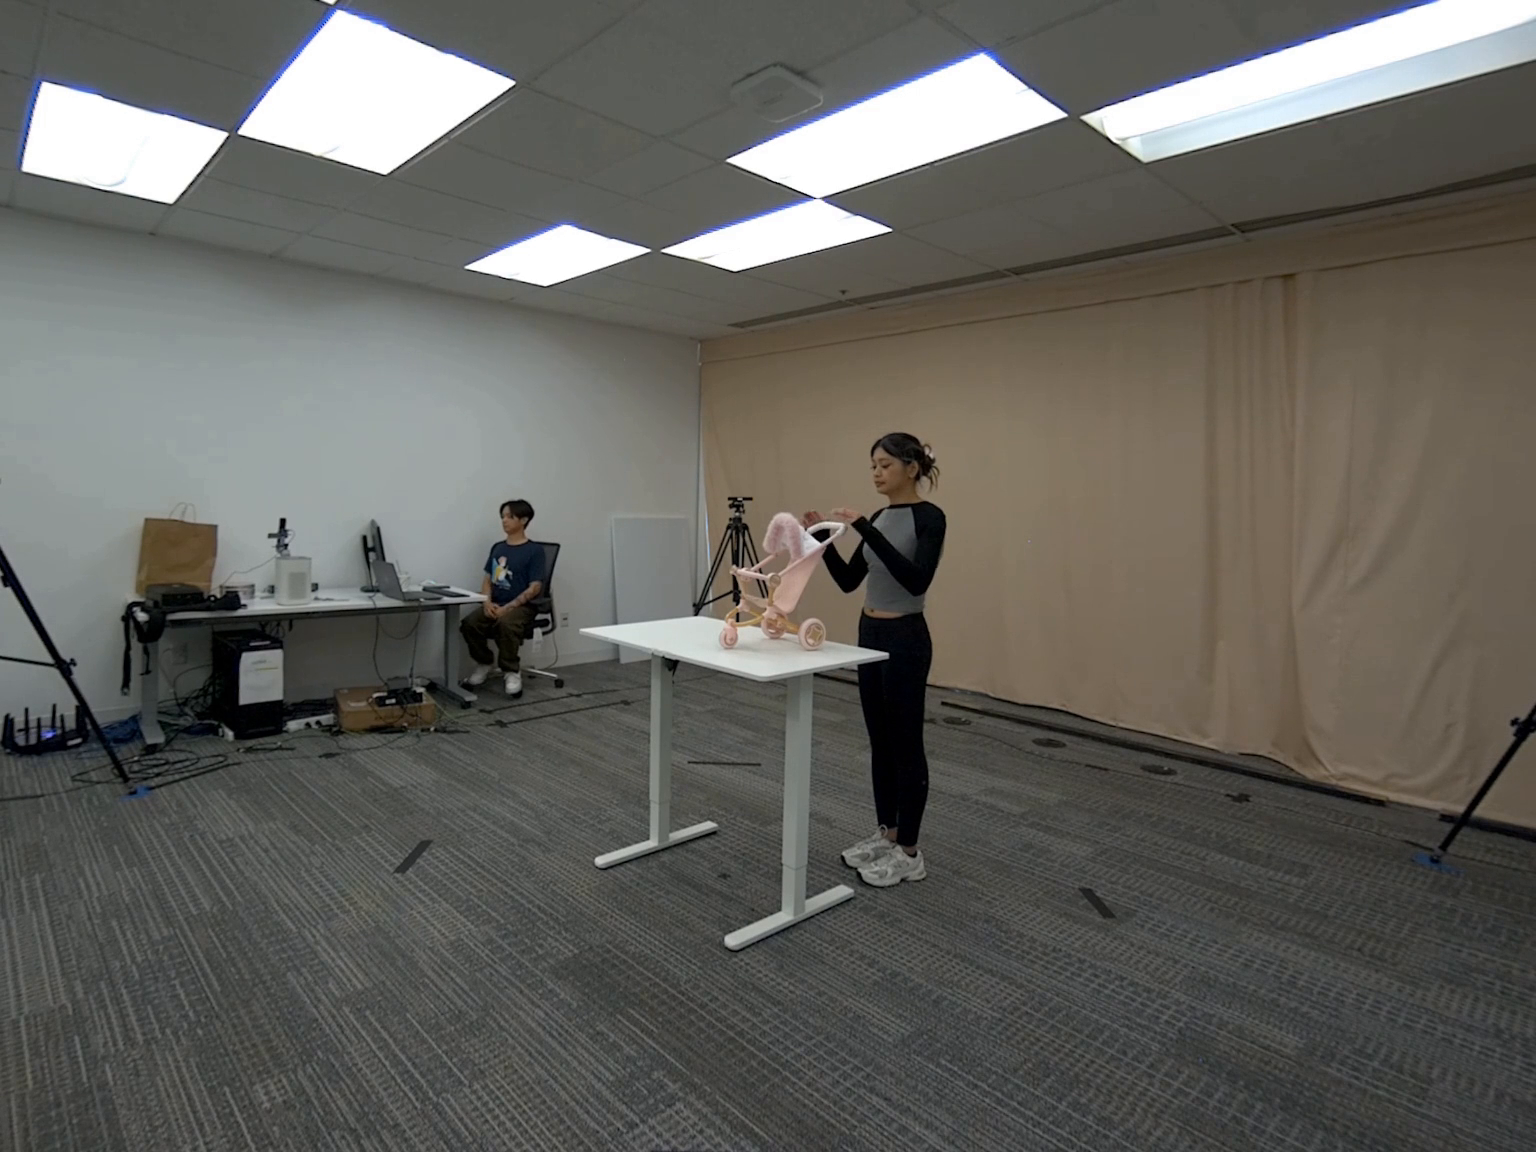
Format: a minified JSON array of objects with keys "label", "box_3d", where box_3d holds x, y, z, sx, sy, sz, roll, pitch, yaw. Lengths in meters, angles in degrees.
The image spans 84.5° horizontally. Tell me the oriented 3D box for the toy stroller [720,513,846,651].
[{"label":"toy stroller","box_3d":[0.033,0.020,2.930,0.334,0.536,0.287,17,-3,-25]}]
